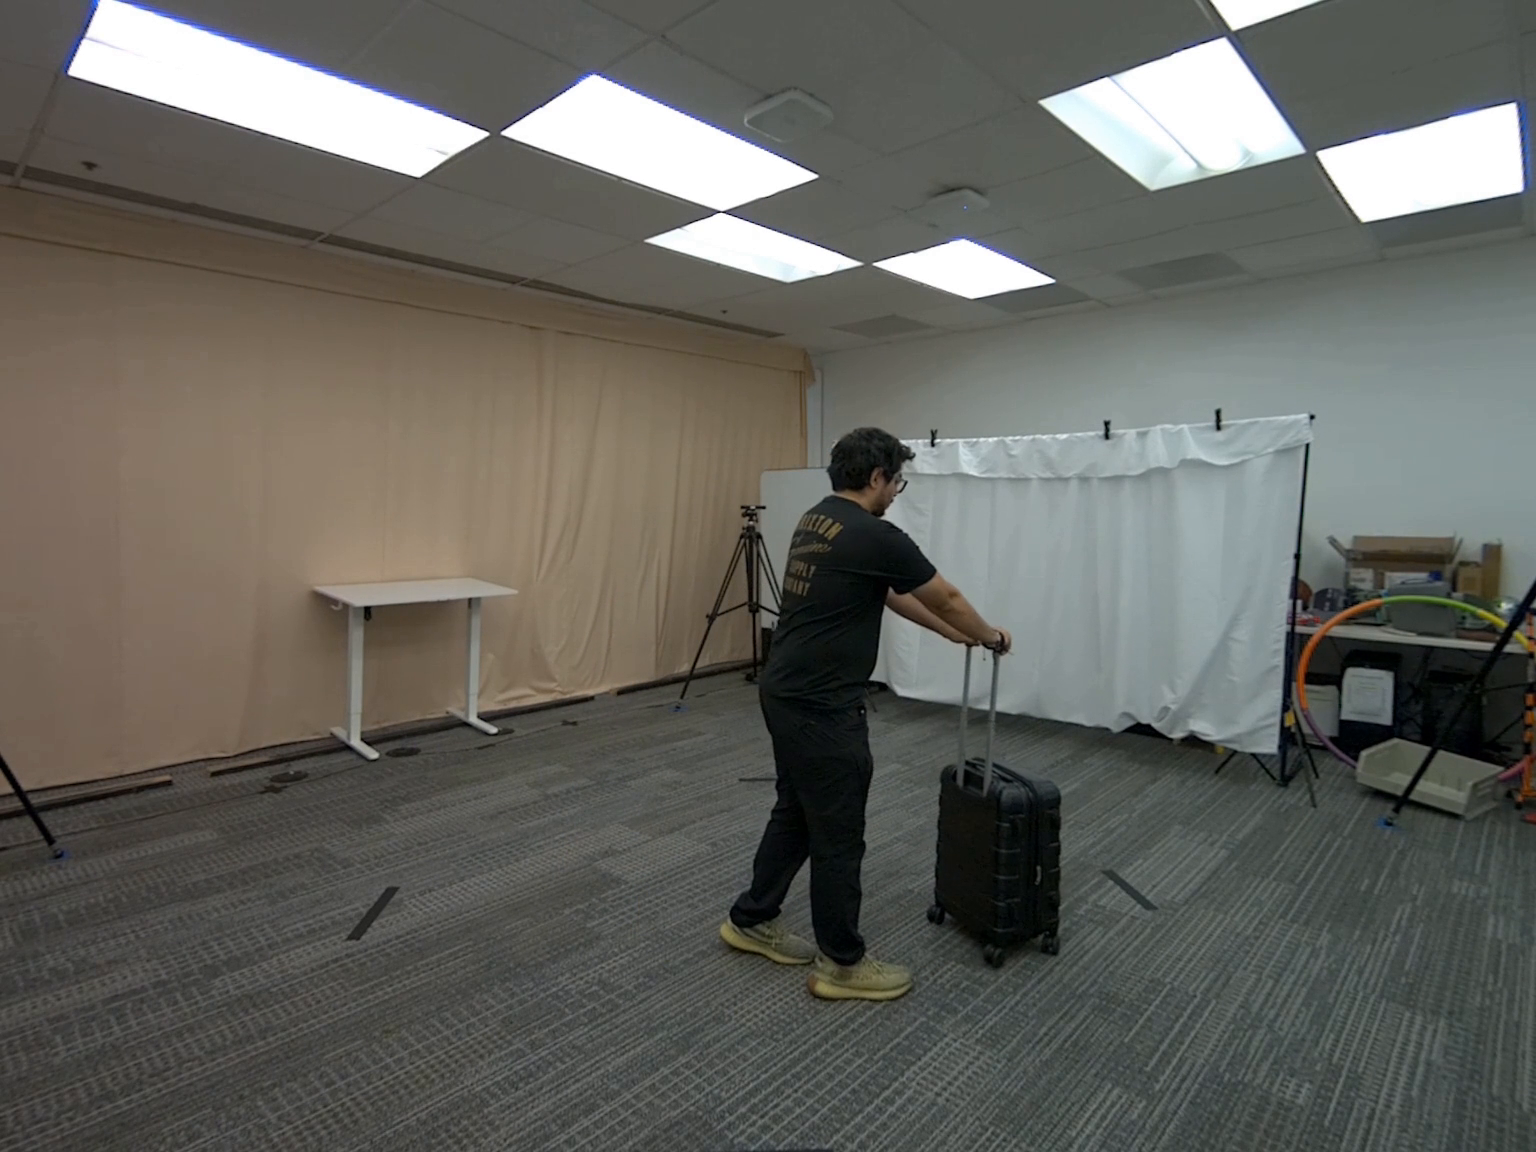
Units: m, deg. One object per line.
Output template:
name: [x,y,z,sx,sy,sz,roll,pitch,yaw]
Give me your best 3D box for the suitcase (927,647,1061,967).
suitcase: [0.759,0.687,2.727,0.252,0.978,0.392,3,0,-21]
